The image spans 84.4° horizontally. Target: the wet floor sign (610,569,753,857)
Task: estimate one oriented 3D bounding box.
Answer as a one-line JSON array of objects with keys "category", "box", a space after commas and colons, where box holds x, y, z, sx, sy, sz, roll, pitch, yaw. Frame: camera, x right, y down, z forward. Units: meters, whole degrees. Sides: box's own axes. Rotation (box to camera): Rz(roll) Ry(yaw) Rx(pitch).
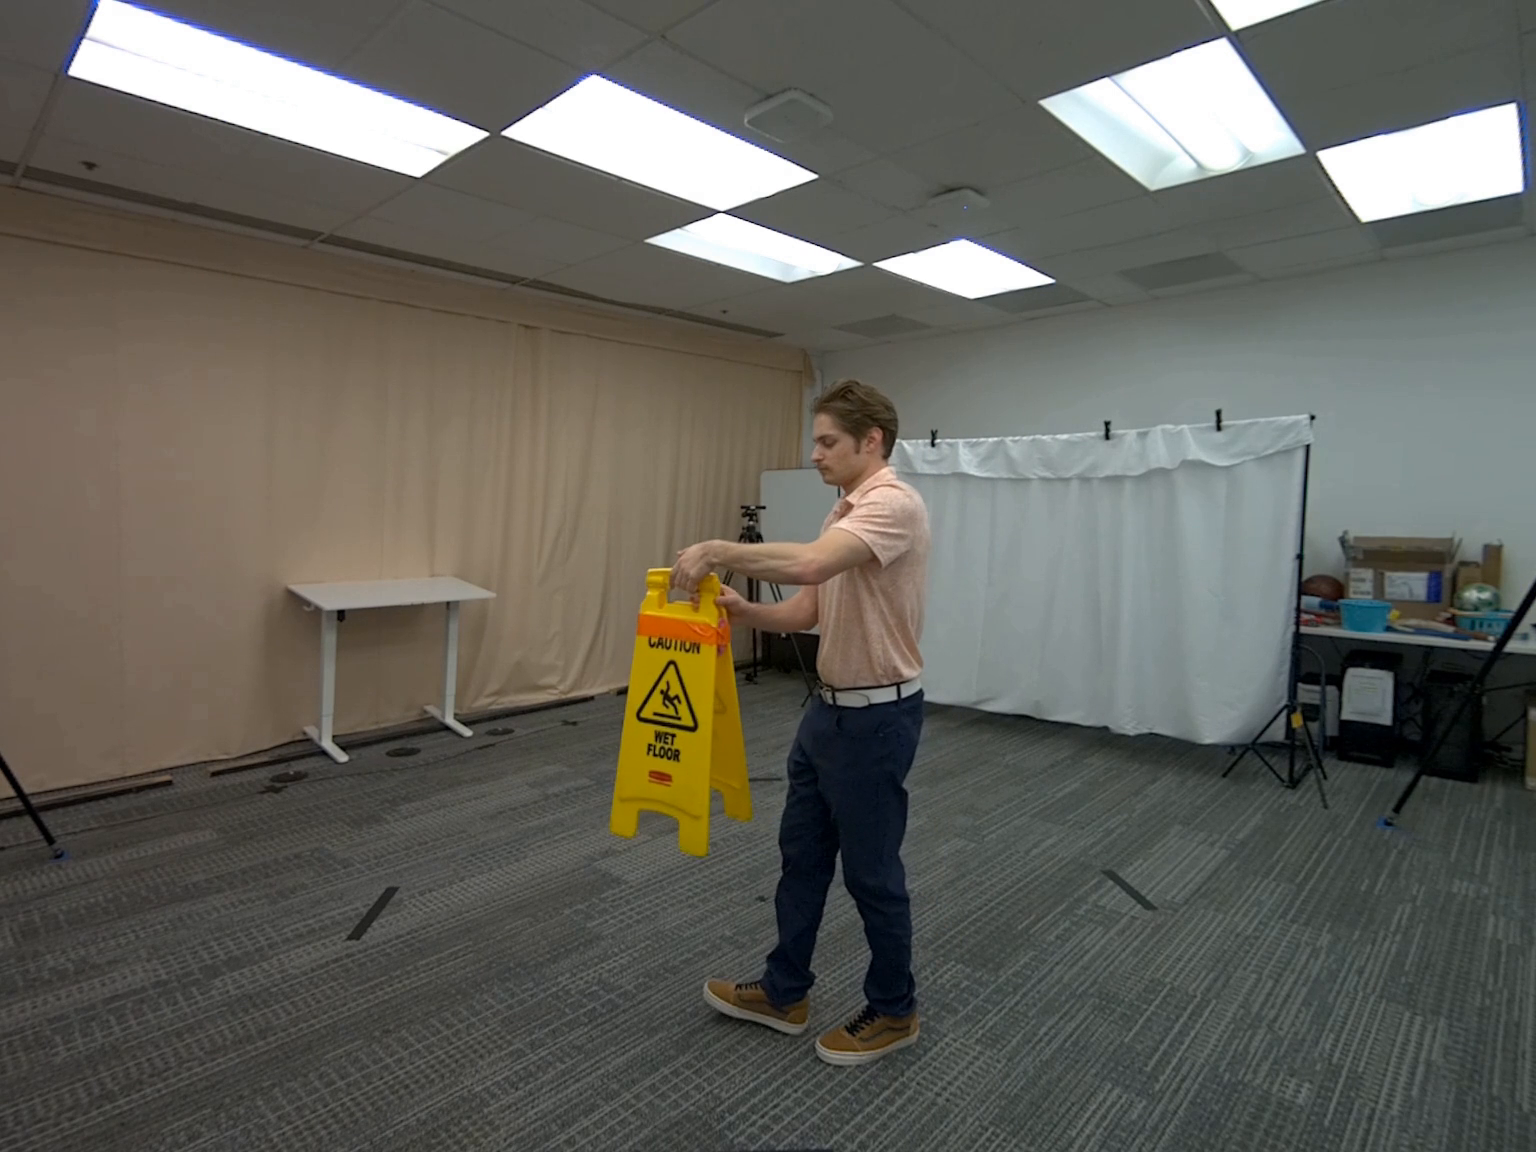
[{"category": "wet floor sign", "box": [-0.207, 0.313, 2.085, 0.290, 0.644, 0.282, 2, 5, 28]}]
